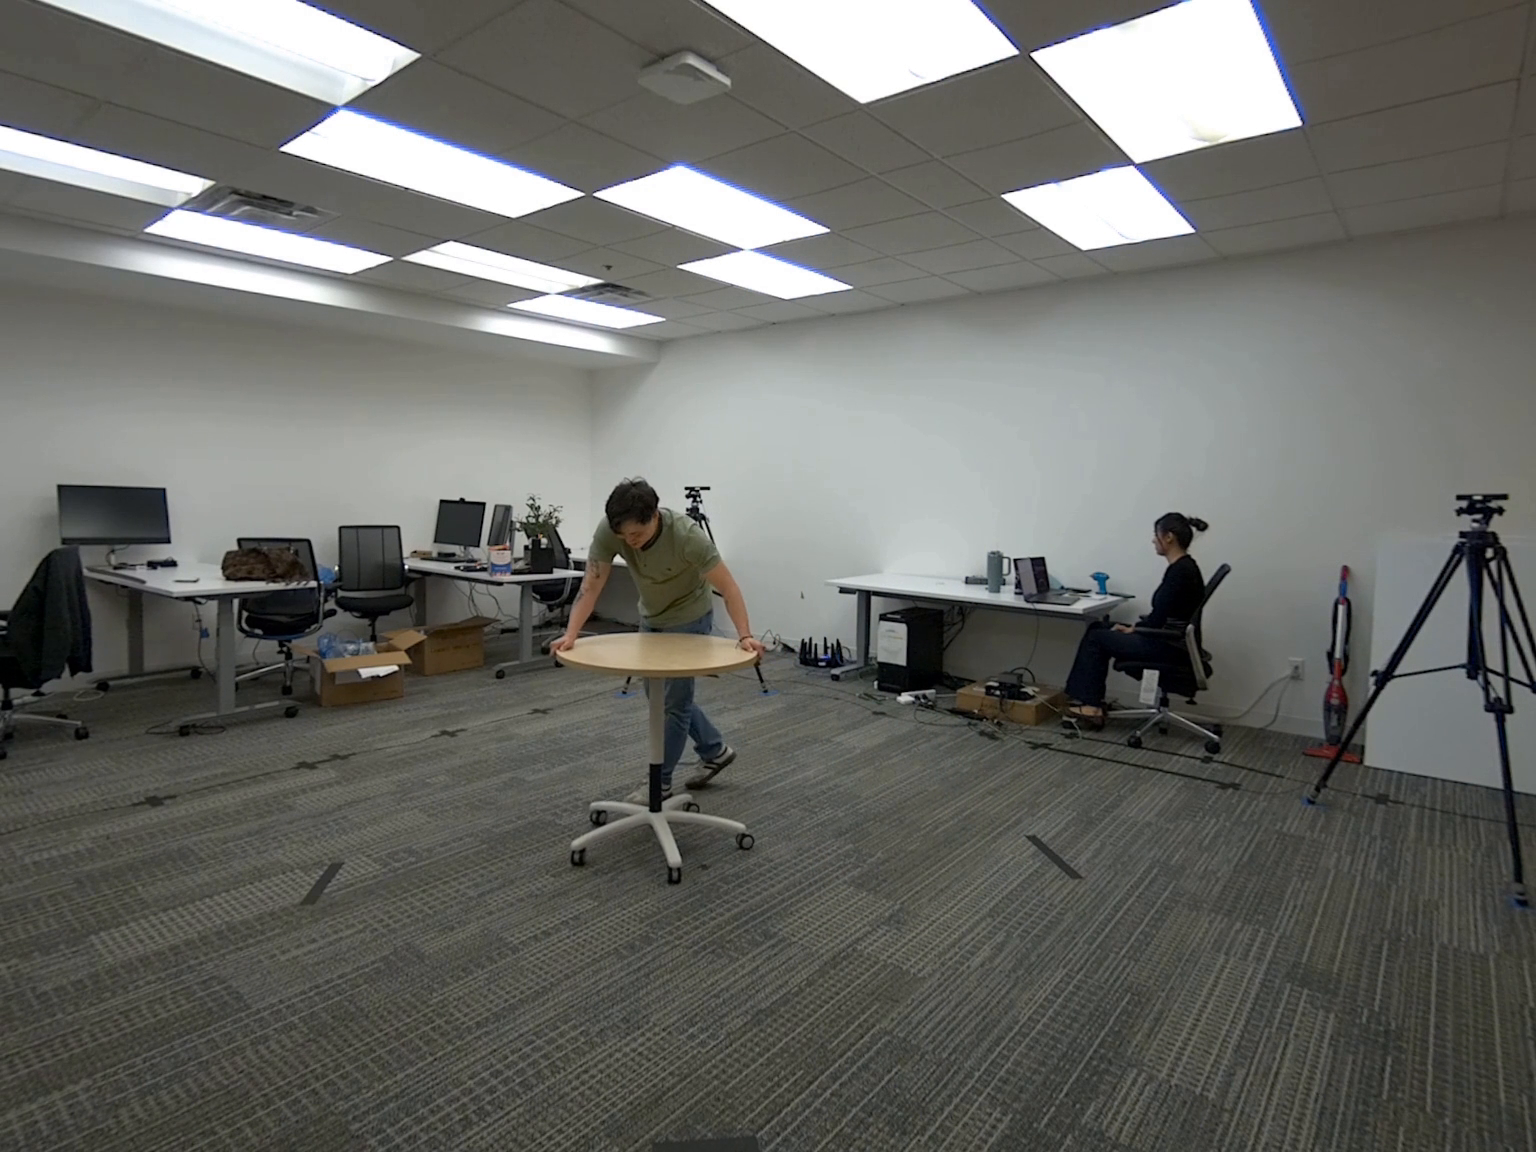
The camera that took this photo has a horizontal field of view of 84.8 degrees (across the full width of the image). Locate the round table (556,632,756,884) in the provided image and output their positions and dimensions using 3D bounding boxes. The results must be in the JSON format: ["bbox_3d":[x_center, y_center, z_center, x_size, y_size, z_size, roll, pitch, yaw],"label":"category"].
[{"bbox_3d":[-0.445,0.661,3.280,0.763,0.792,0.767,1,4,-2],"label":"round table"}]
